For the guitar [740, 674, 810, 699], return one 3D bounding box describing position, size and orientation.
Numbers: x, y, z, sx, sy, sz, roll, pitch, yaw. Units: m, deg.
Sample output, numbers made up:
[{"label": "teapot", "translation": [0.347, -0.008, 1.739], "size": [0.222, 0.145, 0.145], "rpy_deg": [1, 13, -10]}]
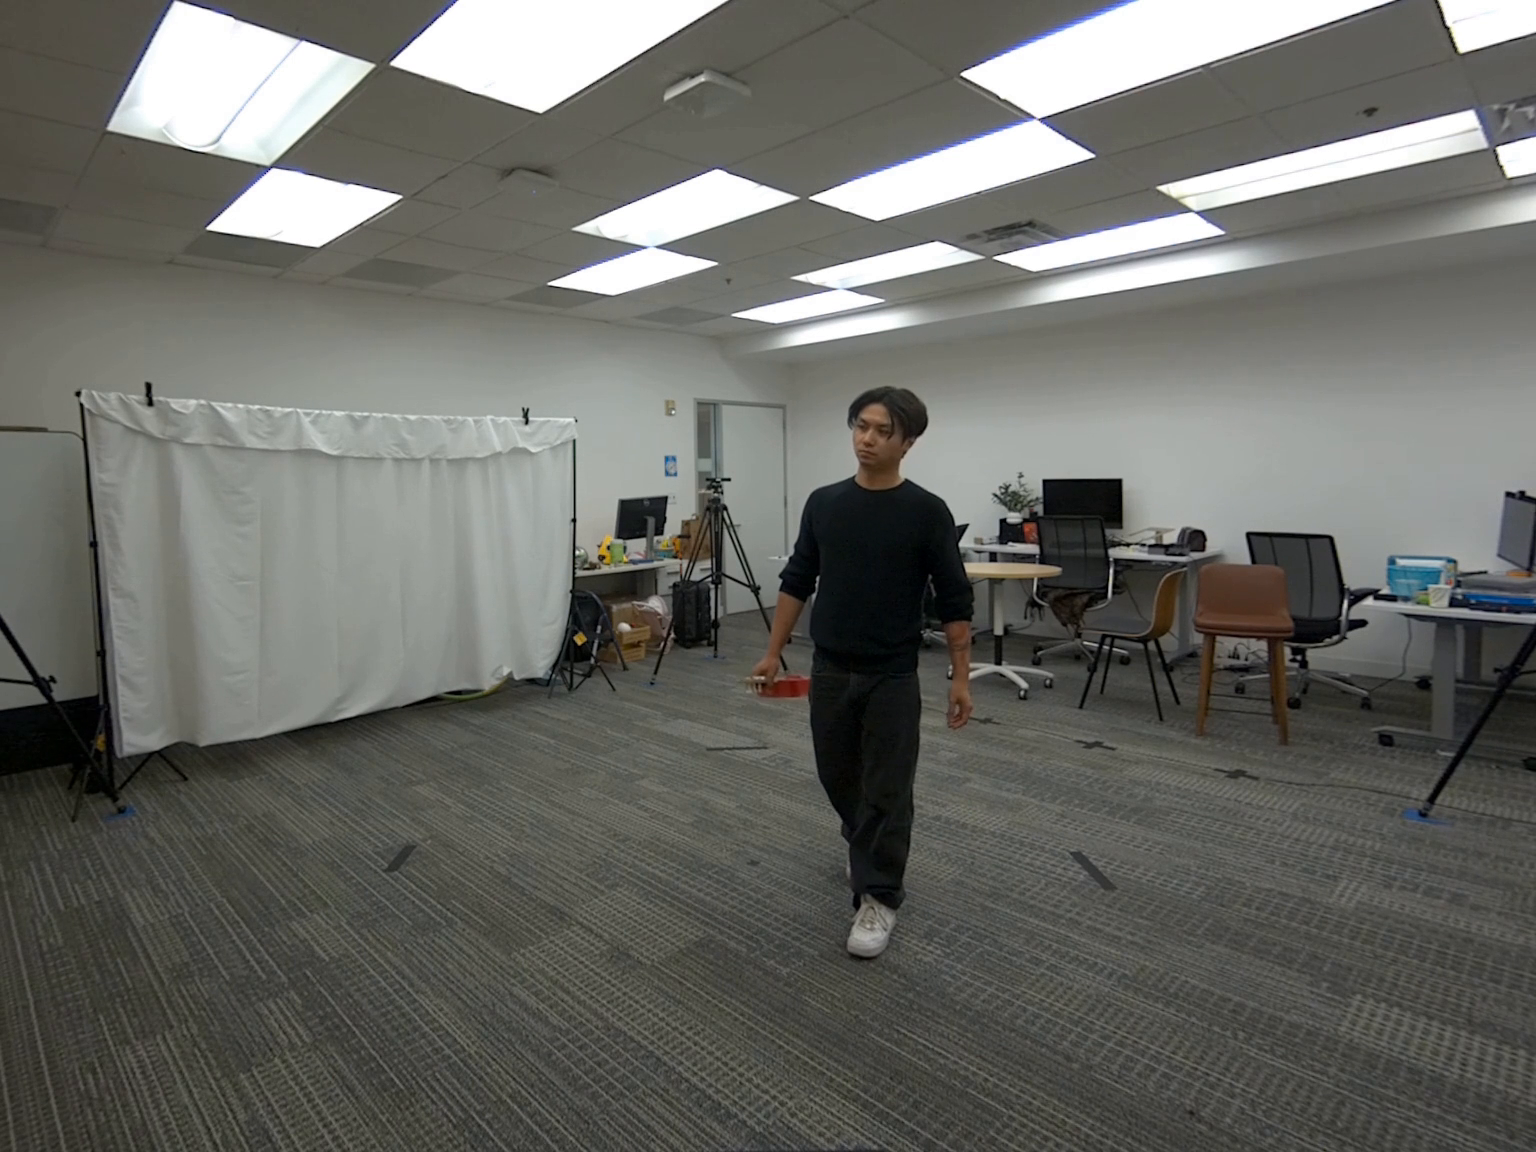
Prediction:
[{"label": "guitar", "translation": [0.012, 0.372, 2.849], "size": [0.198, 0.071, 0.482], "rpy_deg": [-4, -7, 33]}]
